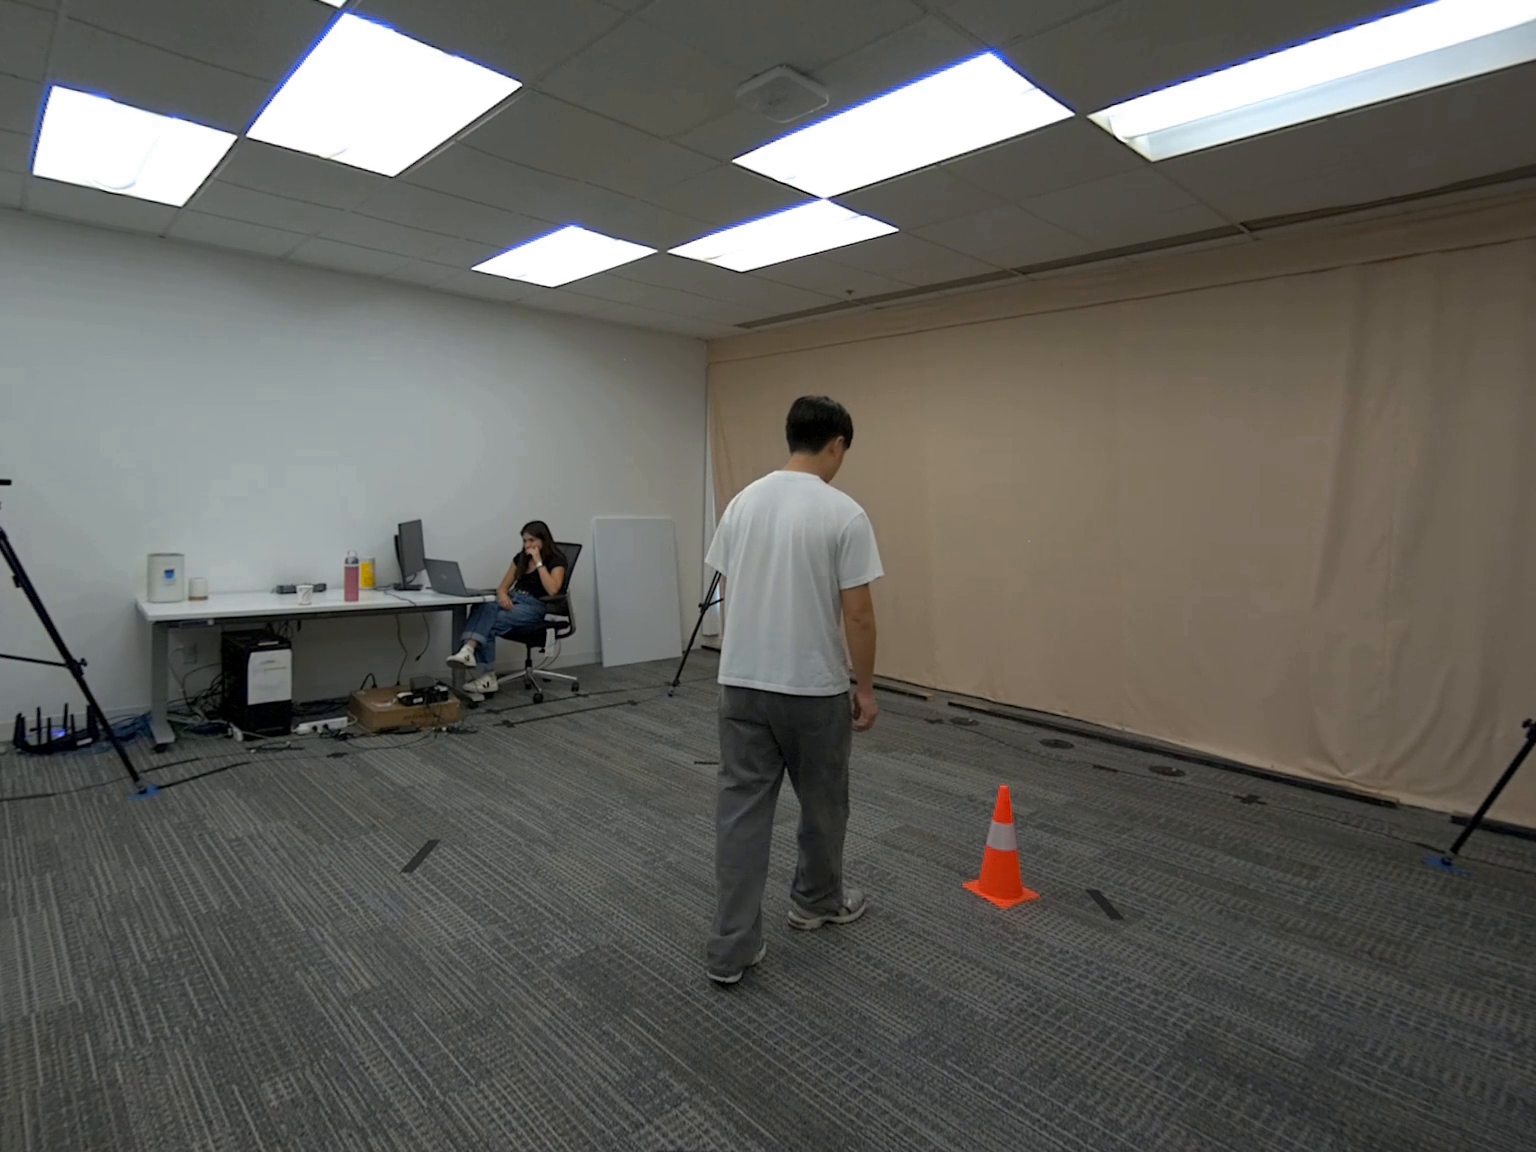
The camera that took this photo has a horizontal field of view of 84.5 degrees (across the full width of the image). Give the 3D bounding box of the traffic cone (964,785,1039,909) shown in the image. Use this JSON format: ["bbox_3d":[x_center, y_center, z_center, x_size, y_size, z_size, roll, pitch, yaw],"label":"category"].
[{"bbox_3d":[0.850,0.957,3.039,0.200,0.383,0.208,1,3,-36],"label":"traffic cone"}]
